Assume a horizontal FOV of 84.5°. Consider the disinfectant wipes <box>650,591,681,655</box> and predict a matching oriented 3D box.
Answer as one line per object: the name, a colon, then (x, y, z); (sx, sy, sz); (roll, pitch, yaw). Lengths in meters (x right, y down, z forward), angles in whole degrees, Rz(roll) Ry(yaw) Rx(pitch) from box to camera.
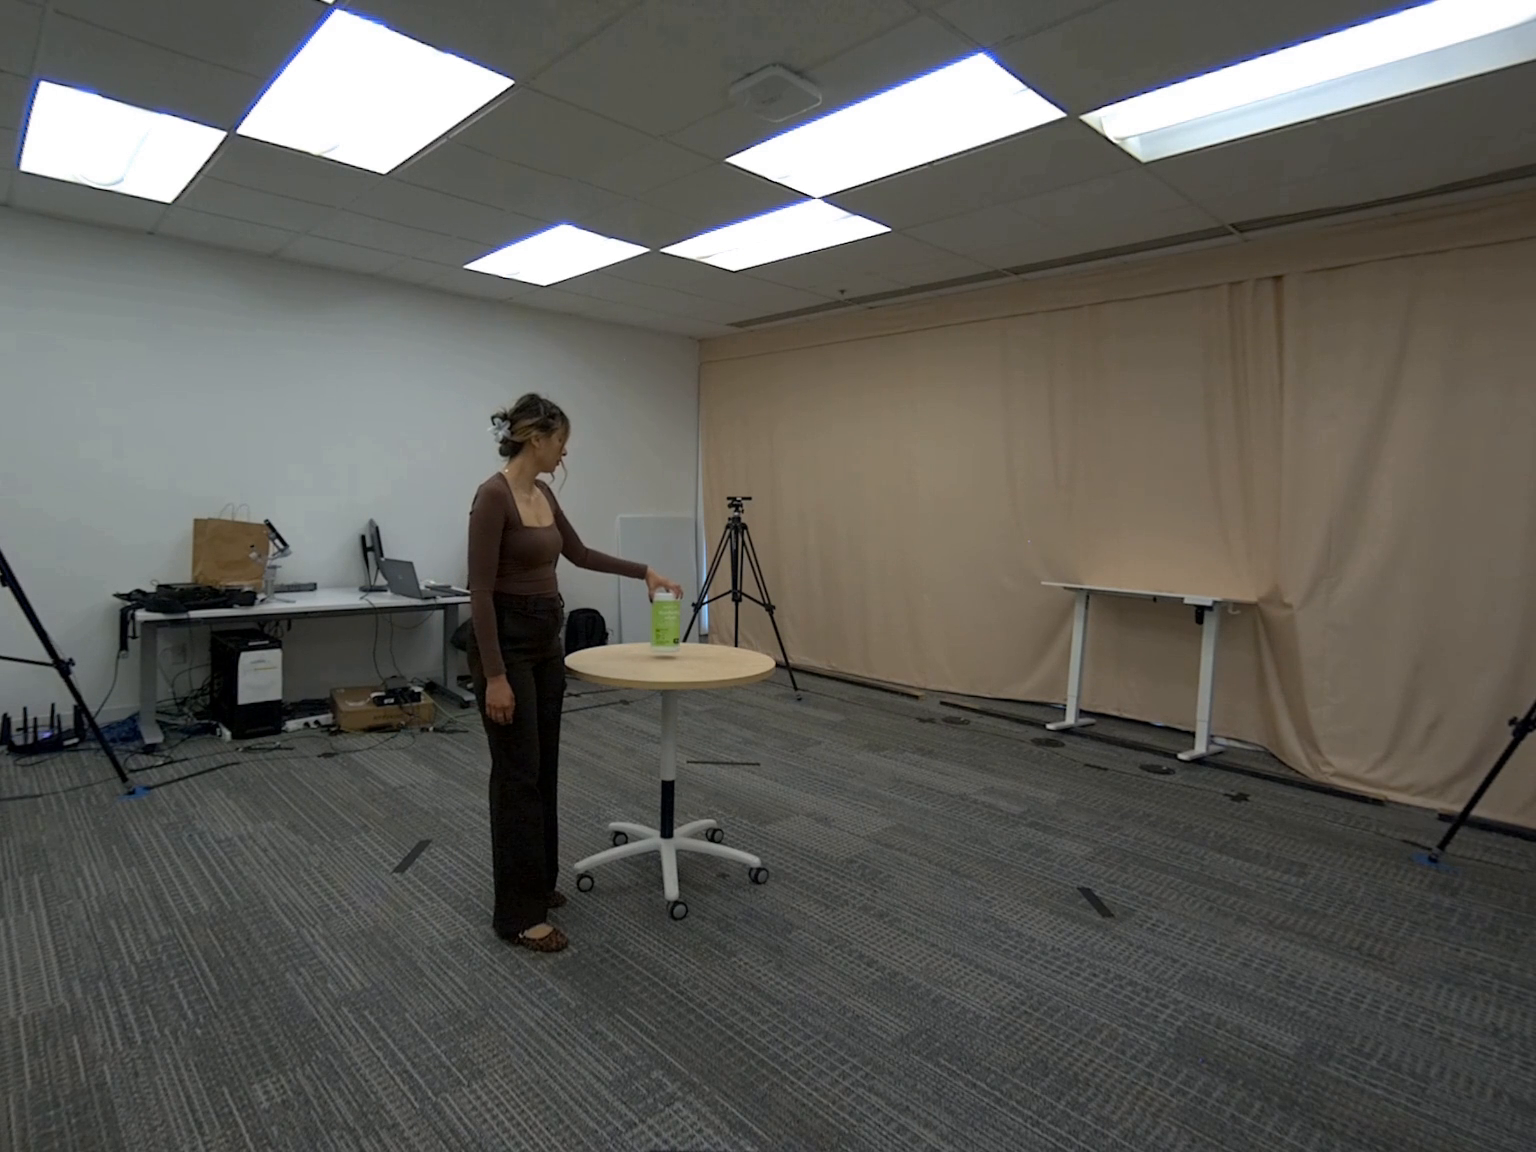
disinfectant wipes: (-0.388, 0.173, 3.103); (0.118, 0.218, 0.118); (0, -2, -1)
